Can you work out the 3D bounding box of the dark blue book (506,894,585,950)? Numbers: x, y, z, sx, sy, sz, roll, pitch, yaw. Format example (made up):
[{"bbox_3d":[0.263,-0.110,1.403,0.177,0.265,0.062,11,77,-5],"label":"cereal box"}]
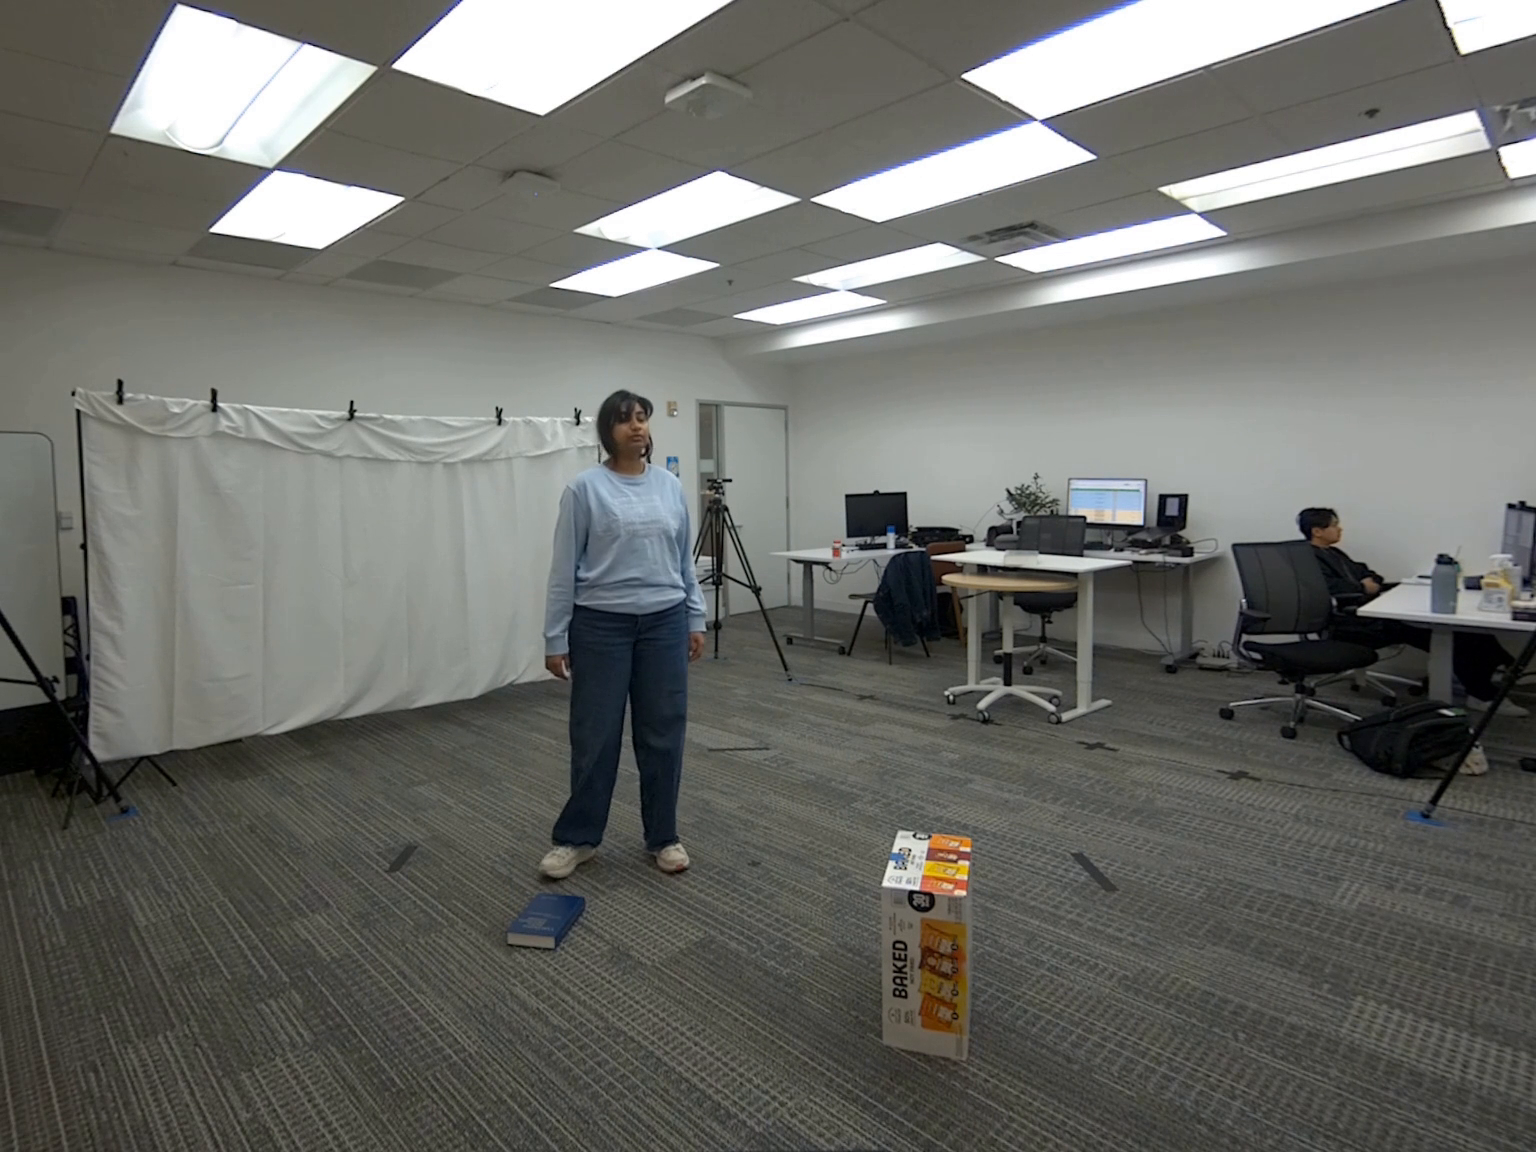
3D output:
[{"bbox_3d":[-0.697,1.085,2.689,0.165,0.045,0.243,0,7,11],"label":"dark blue book"}]
